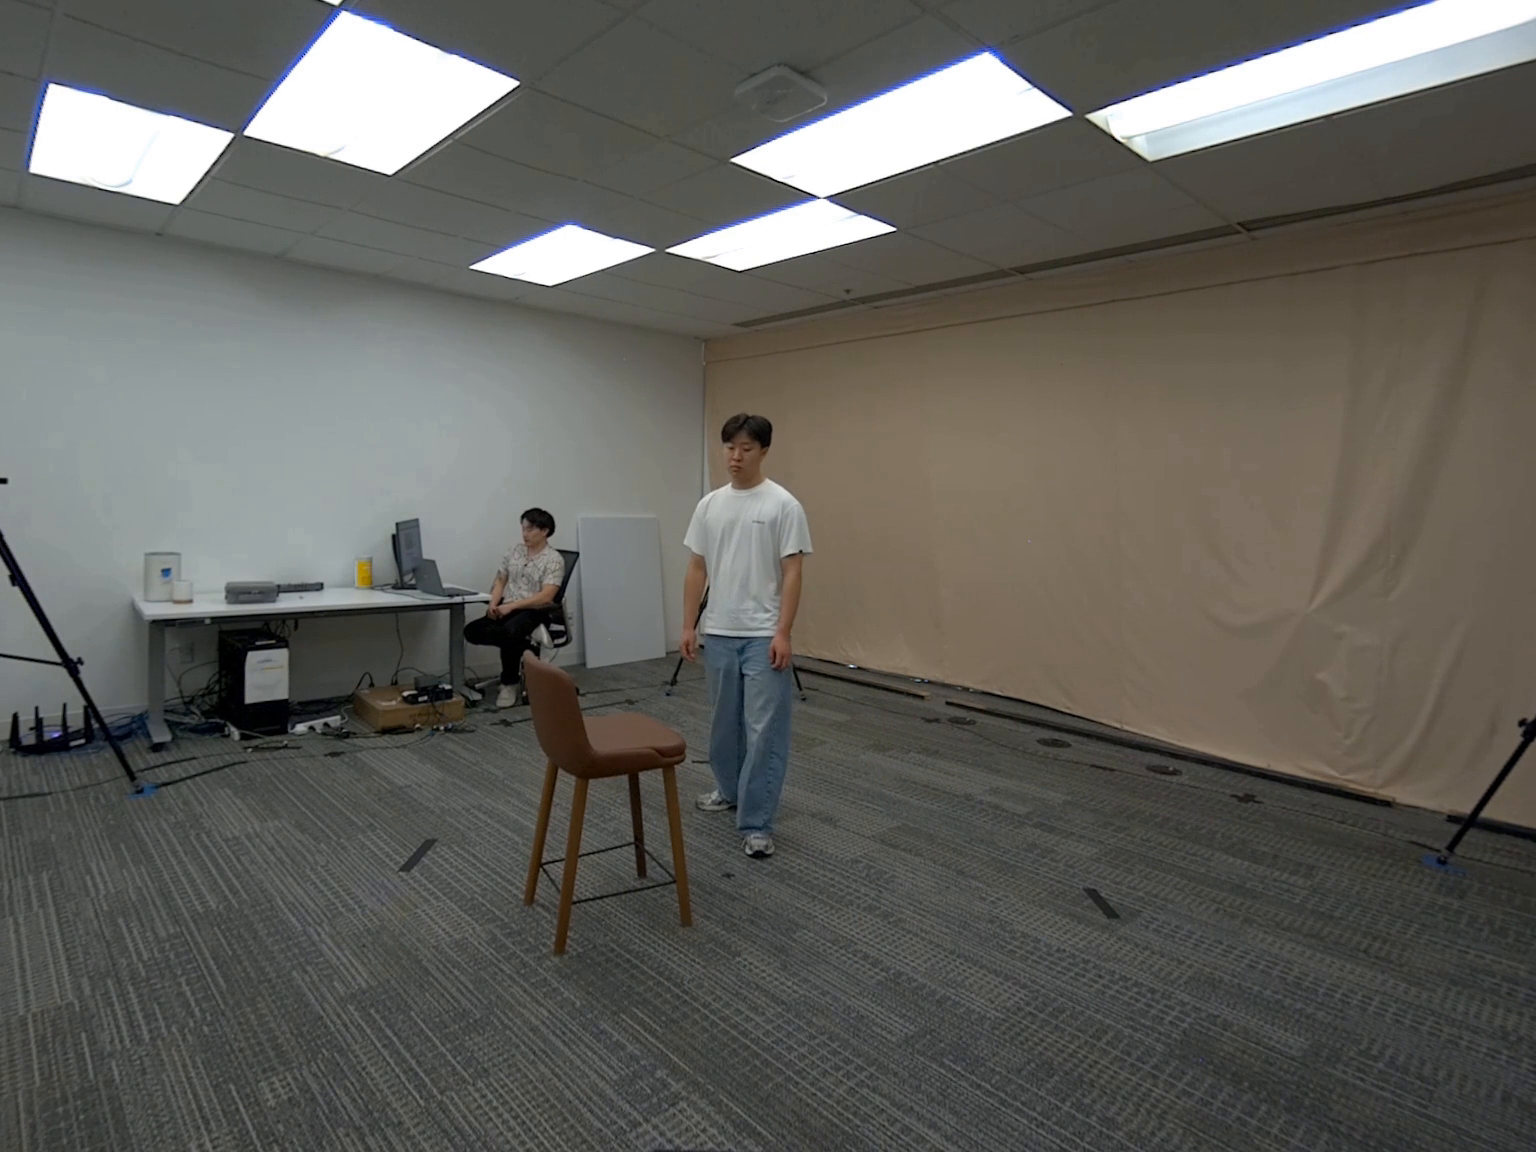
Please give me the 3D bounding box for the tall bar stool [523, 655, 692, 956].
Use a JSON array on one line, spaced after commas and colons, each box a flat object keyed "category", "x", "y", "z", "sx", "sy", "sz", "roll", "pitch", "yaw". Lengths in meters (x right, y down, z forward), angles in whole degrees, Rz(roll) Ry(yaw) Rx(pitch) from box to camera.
[{"category": "tall bar stool", "x": -0.542, "y": 0.691, "z": 2.777, "sx": 0.458, "sy": 0.887, "sz": 0.467, "roll": -3, "pitch": 5, "yaw": -31}]
